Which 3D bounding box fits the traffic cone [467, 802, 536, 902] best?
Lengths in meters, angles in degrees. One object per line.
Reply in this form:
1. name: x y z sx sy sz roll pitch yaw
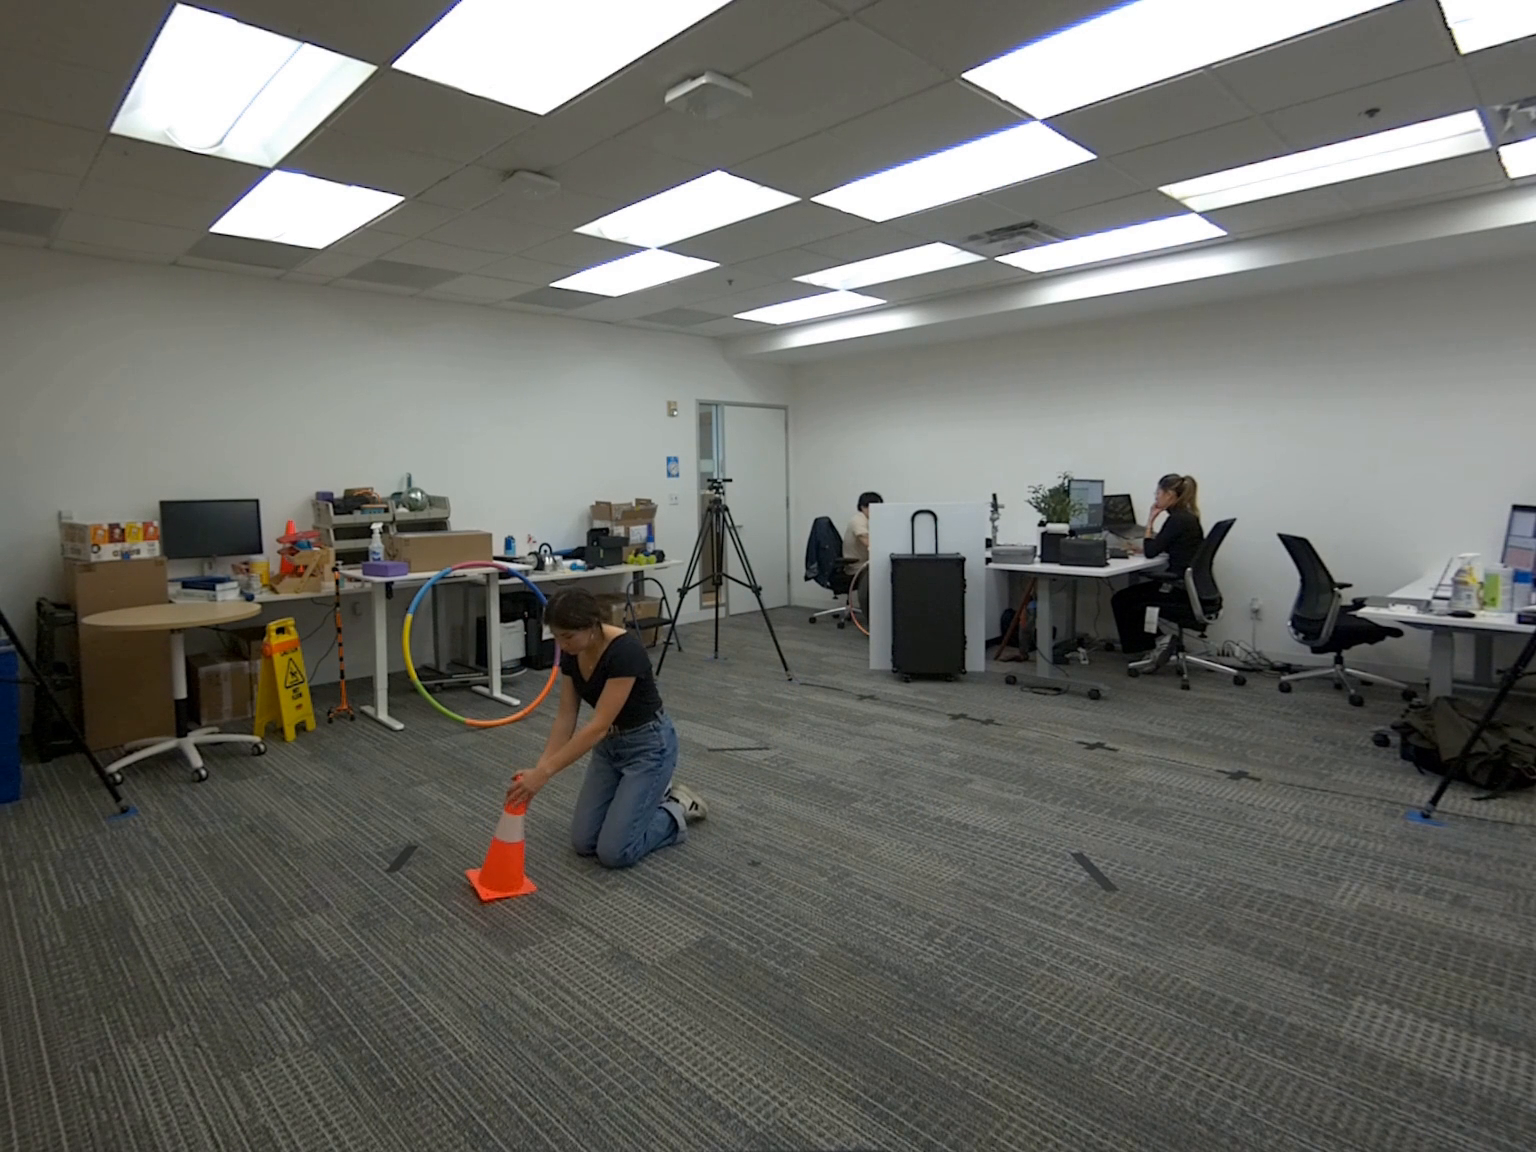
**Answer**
1. traffic cone: -0.889 0.883 2.967 0.197 0.383 0.211 10 1 -33
